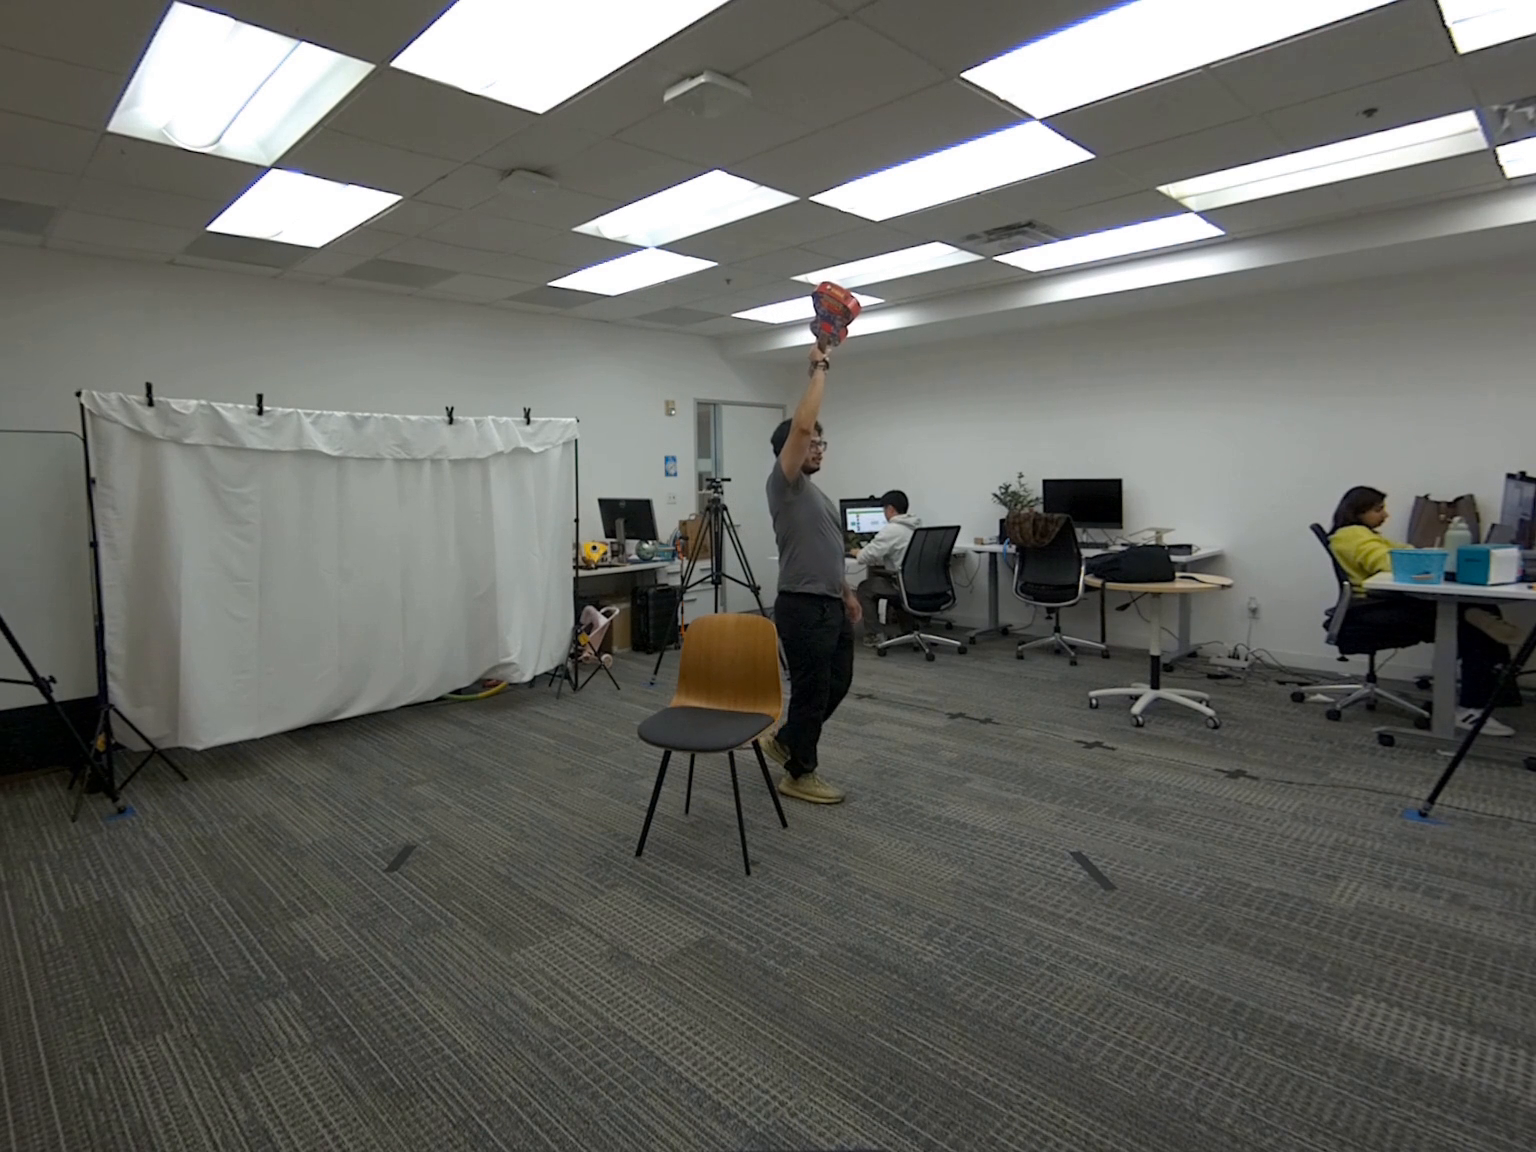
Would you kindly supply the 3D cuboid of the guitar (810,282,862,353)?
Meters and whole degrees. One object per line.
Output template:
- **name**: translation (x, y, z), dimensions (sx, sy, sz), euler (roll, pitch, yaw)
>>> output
- **guitar**: translation (0.214, -0.983, 3.445), dimensions (0.071, 0.194, 0.494), euler (-49, -3, -23)
